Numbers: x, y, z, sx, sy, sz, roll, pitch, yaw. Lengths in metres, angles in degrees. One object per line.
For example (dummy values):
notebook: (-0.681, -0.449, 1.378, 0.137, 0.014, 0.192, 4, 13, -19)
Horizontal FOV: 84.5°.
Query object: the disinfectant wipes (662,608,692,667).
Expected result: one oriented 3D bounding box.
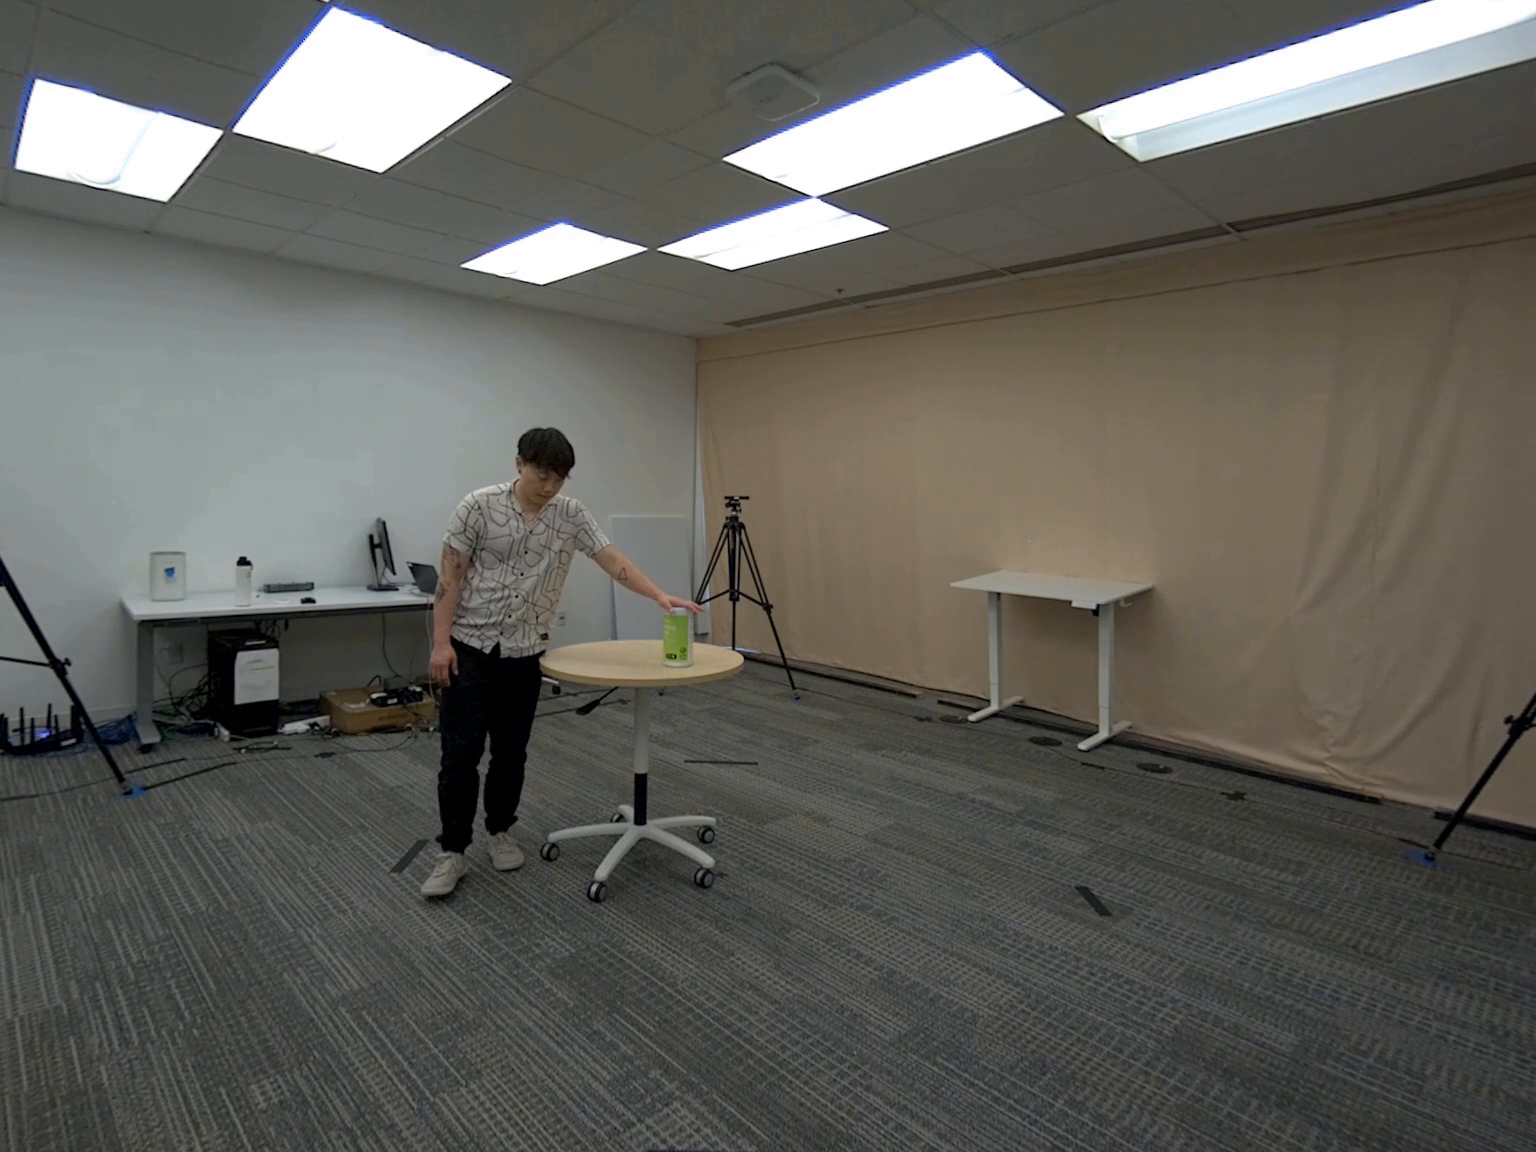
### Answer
disinfectant wipes: (-0.332, 0.220, 3.045, 0.118, 0.216, 0.118, 0, 5, -1)
